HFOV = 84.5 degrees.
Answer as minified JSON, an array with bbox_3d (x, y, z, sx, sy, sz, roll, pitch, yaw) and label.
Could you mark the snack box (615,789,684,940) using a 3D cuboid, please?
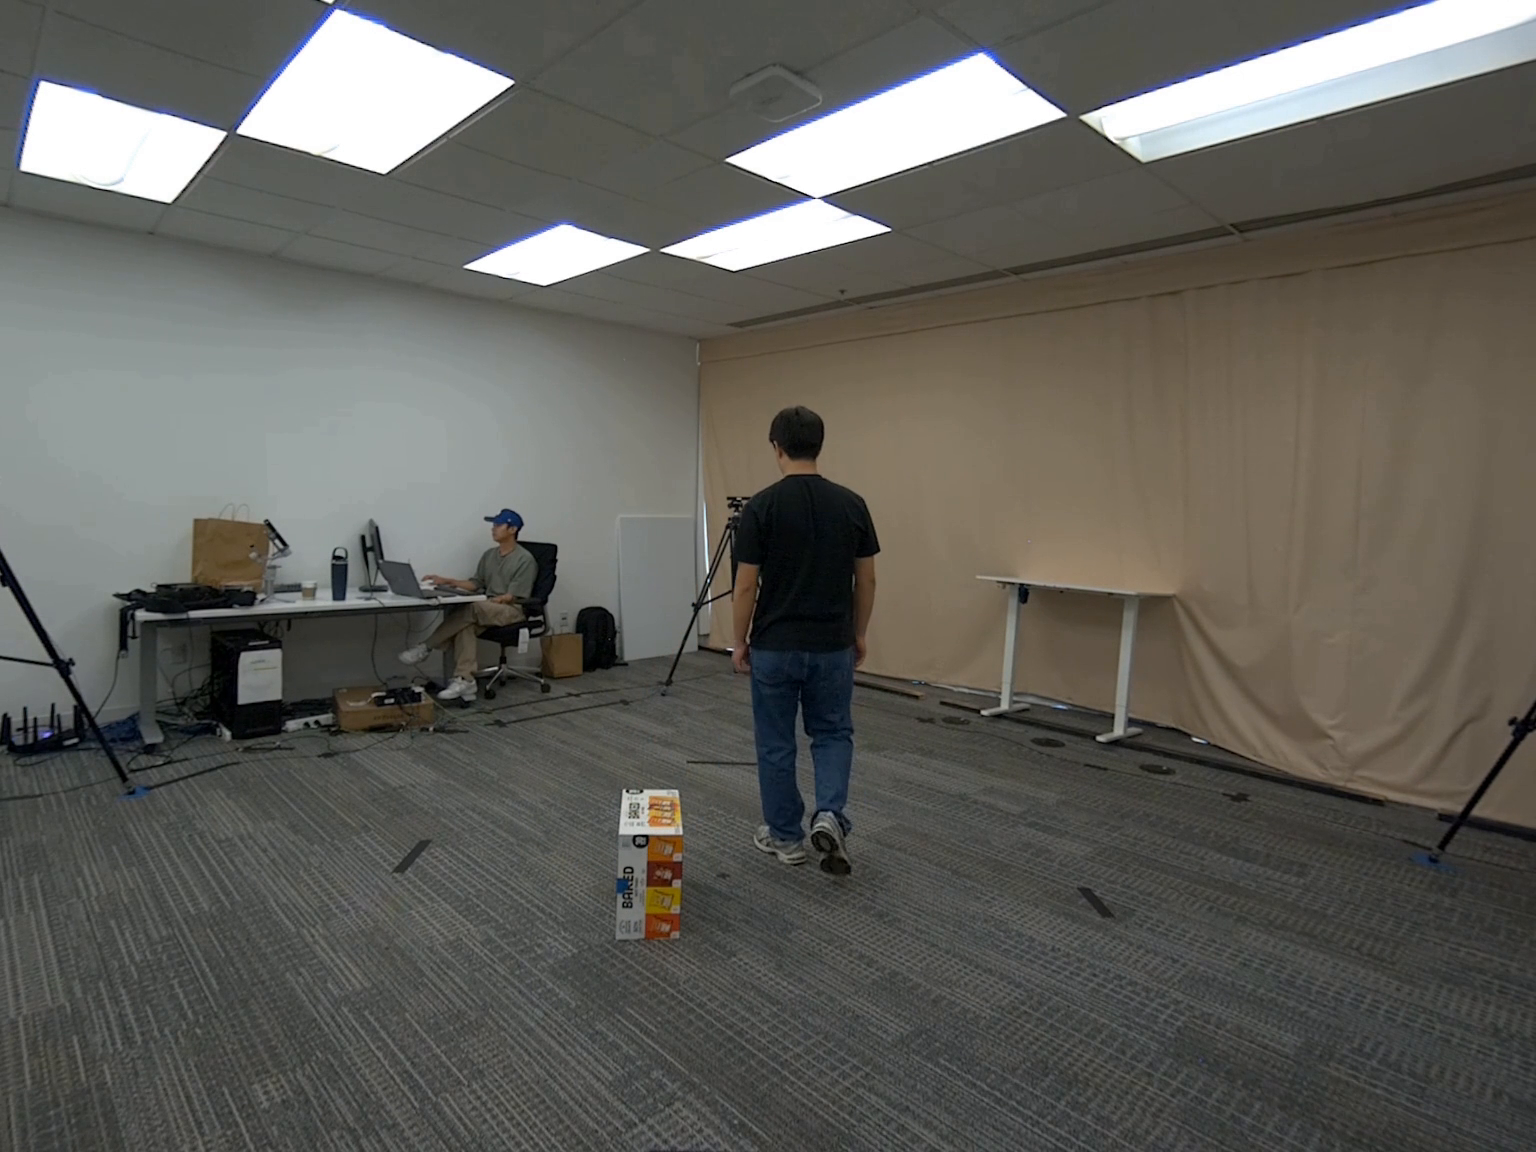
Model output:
[{"bbox_3d":[-0.406,0.956,2.826,0.204,0.339,0.408,3,4,-8],"label":"snack box"}]
